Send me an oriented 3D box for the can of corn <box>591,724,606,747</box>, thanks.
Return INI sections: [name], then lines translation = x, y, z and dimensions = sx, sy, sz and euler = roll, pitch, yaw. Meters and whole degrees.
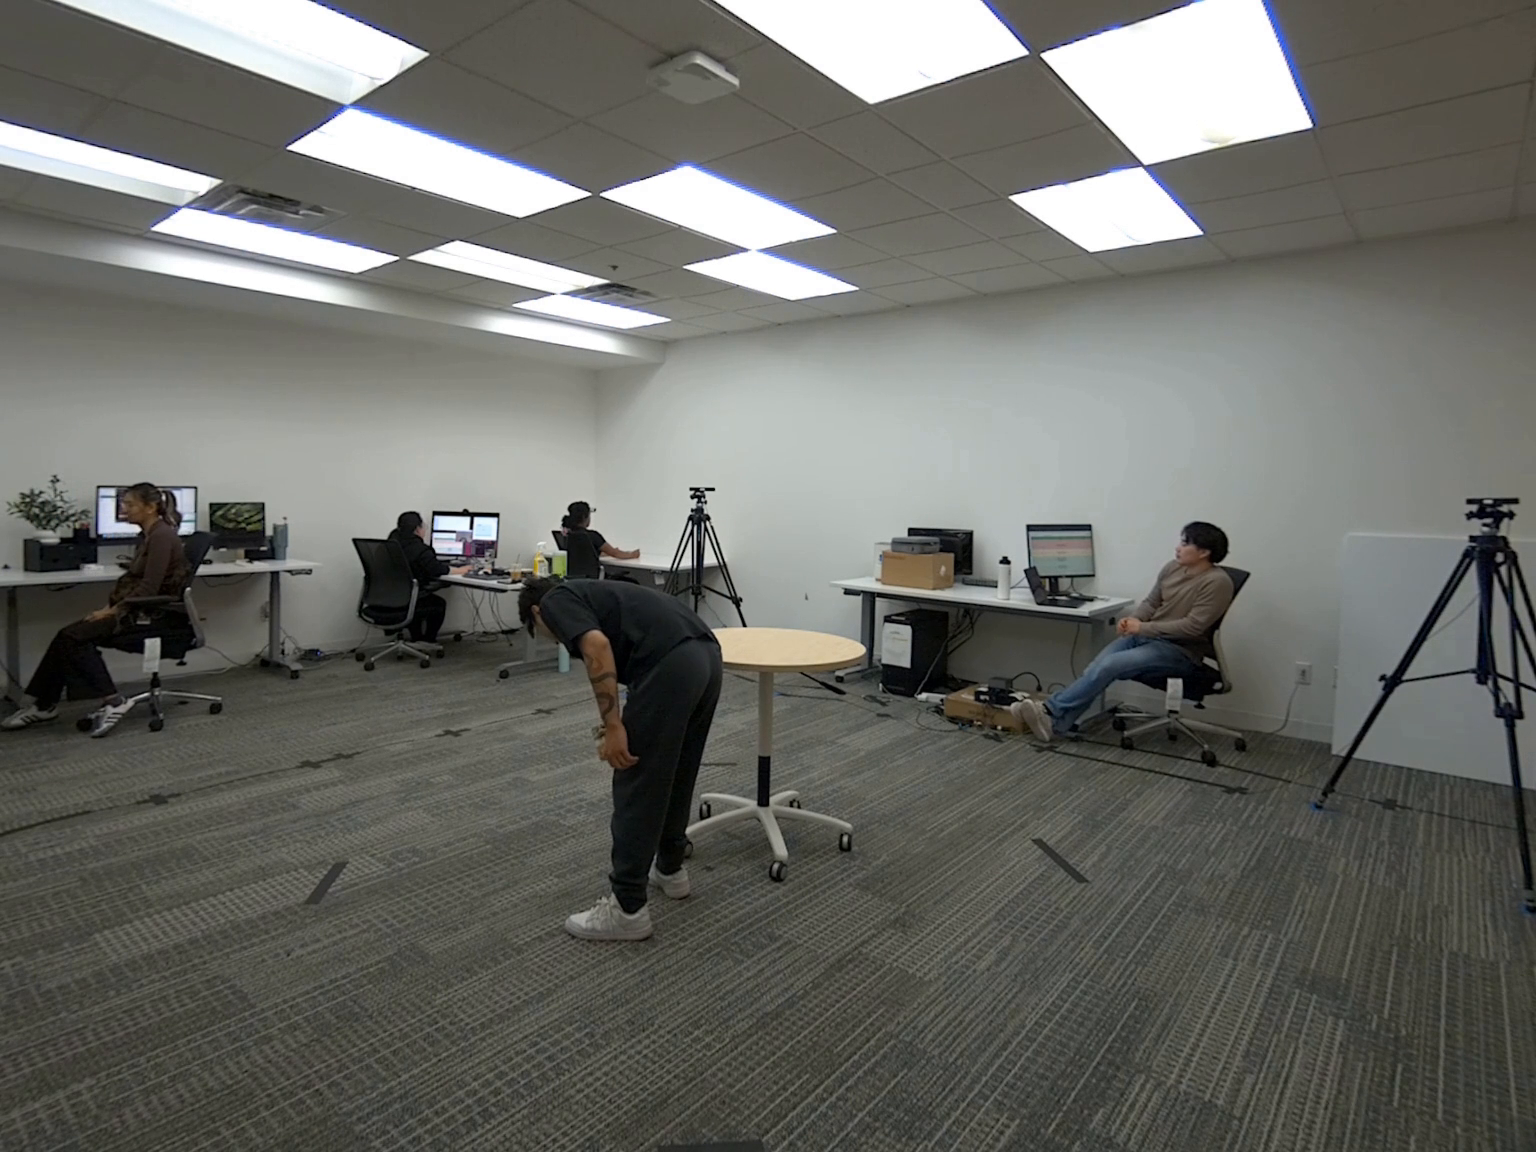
[can of corn]
translation = -0.597, 0.586, 3.077
dimensions = 0.074, 0.114, 0.072
euler = -15, -23, -8
